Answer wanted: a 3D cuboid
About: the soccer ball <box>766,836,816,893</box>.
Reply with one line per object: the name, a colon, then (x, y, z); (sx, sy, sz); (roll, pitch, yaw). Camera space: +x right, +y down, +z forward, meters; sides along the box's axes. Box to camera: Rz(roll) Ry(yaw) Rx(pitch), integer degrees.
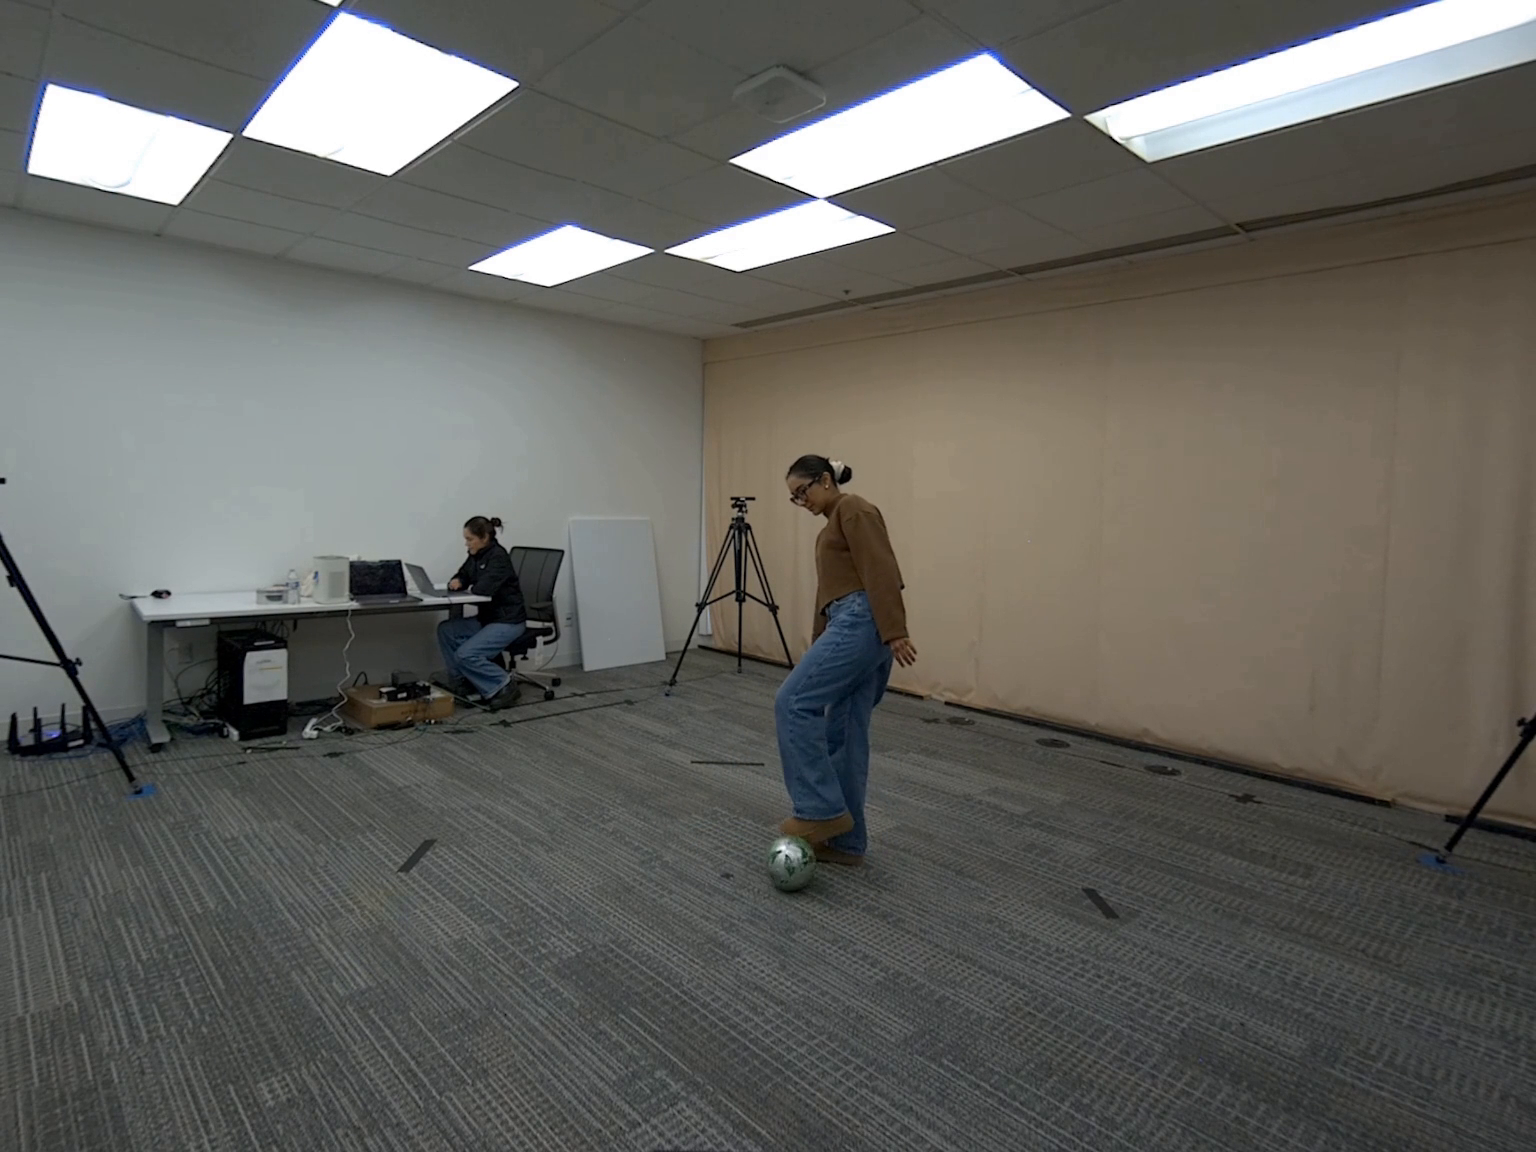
soccer ball: (0.068, 1.029, 2.997); (0.187, 0.187, 0.188); (1, 4, -1)
